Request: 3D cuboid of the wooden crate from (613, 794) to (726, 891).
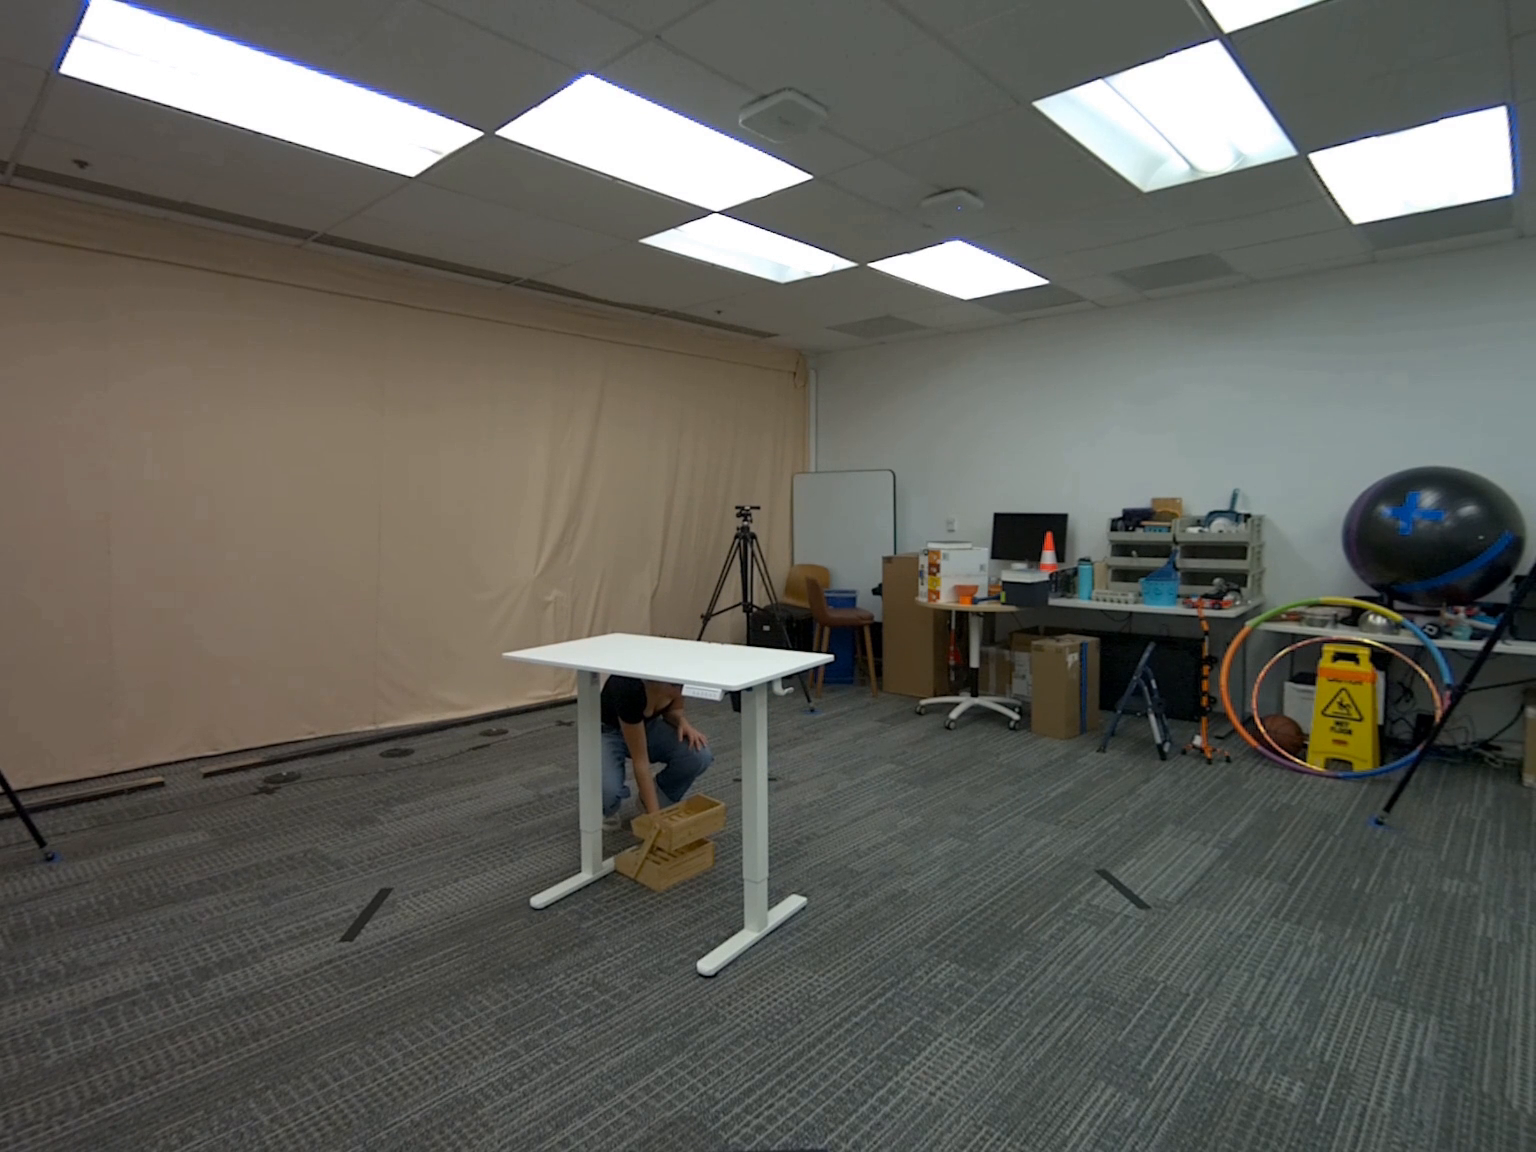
[{"bbox_3d":[-0.375,0.988,3.210,0.312,0.272,0.315,7,8,40],"label":"wooden crate"}]
